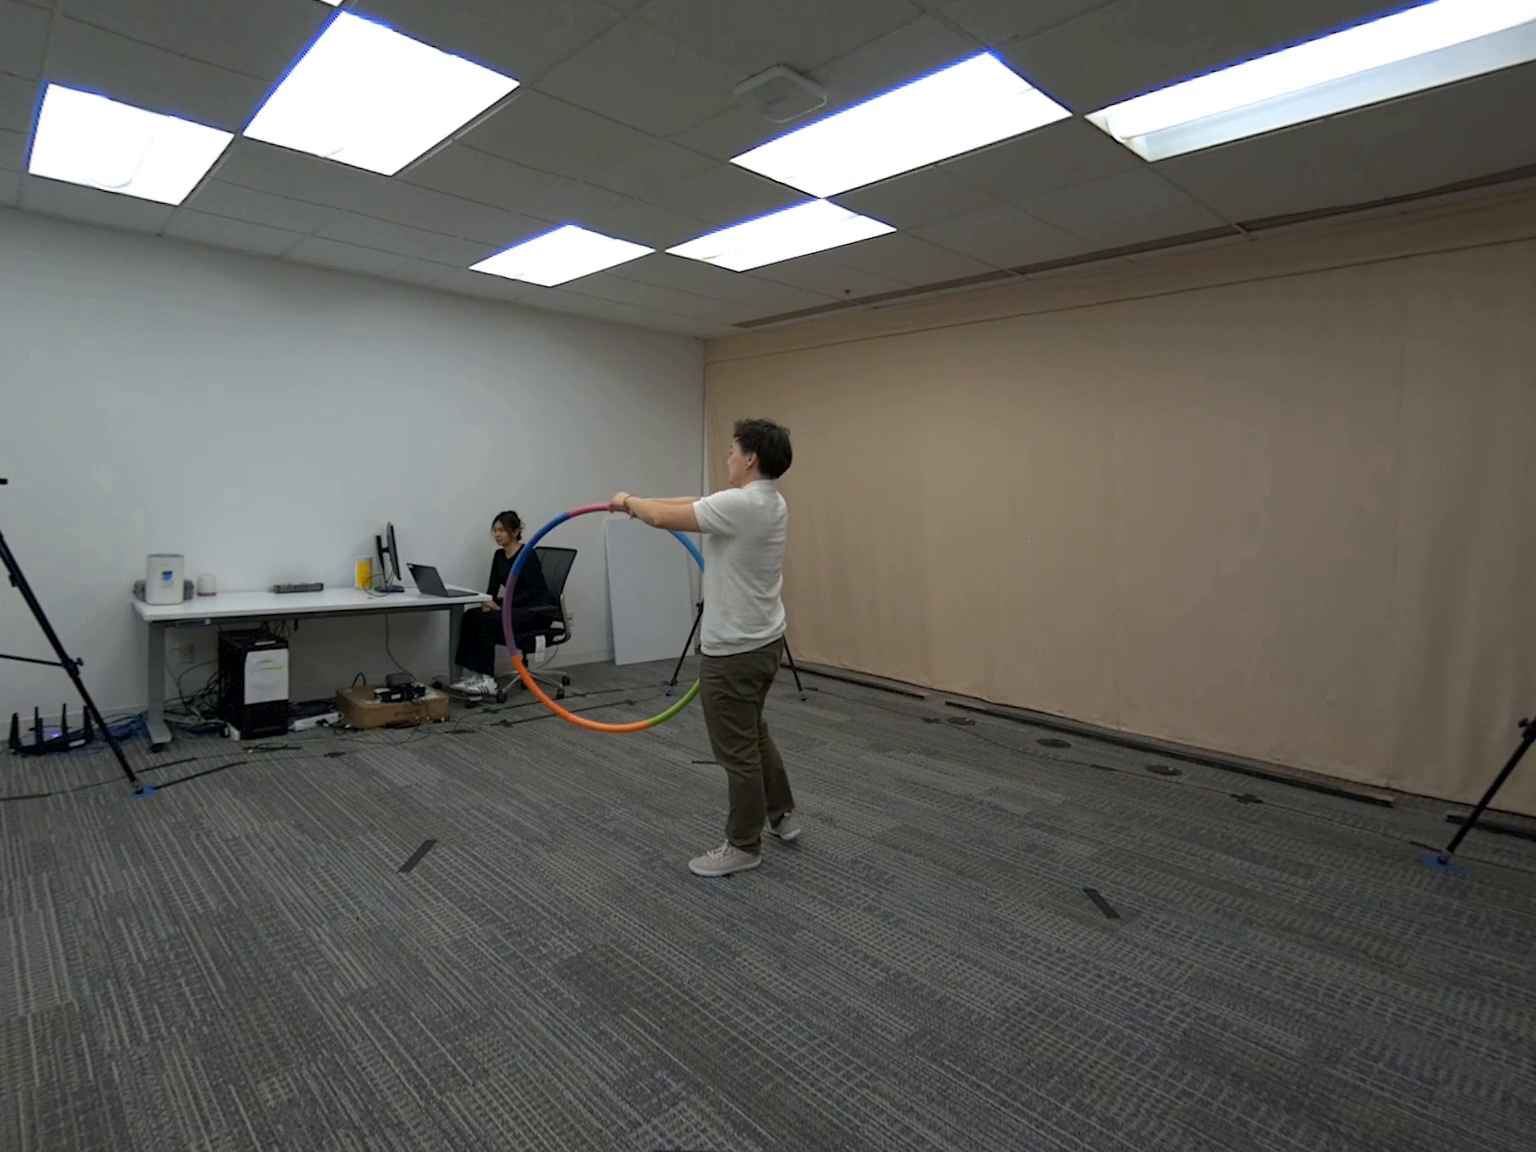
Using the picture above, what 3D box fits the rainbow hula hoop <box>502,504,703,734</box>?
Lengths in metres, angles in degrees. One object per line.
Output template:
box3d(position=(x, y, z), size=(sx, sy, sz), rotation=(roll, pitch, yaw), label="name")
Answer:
box3d(position=(-0.668, 0.184, 3.593), size=(0.990, 0.973, 0.035), rotation=(3, 7, 14), label="rainbow hula hoop")
